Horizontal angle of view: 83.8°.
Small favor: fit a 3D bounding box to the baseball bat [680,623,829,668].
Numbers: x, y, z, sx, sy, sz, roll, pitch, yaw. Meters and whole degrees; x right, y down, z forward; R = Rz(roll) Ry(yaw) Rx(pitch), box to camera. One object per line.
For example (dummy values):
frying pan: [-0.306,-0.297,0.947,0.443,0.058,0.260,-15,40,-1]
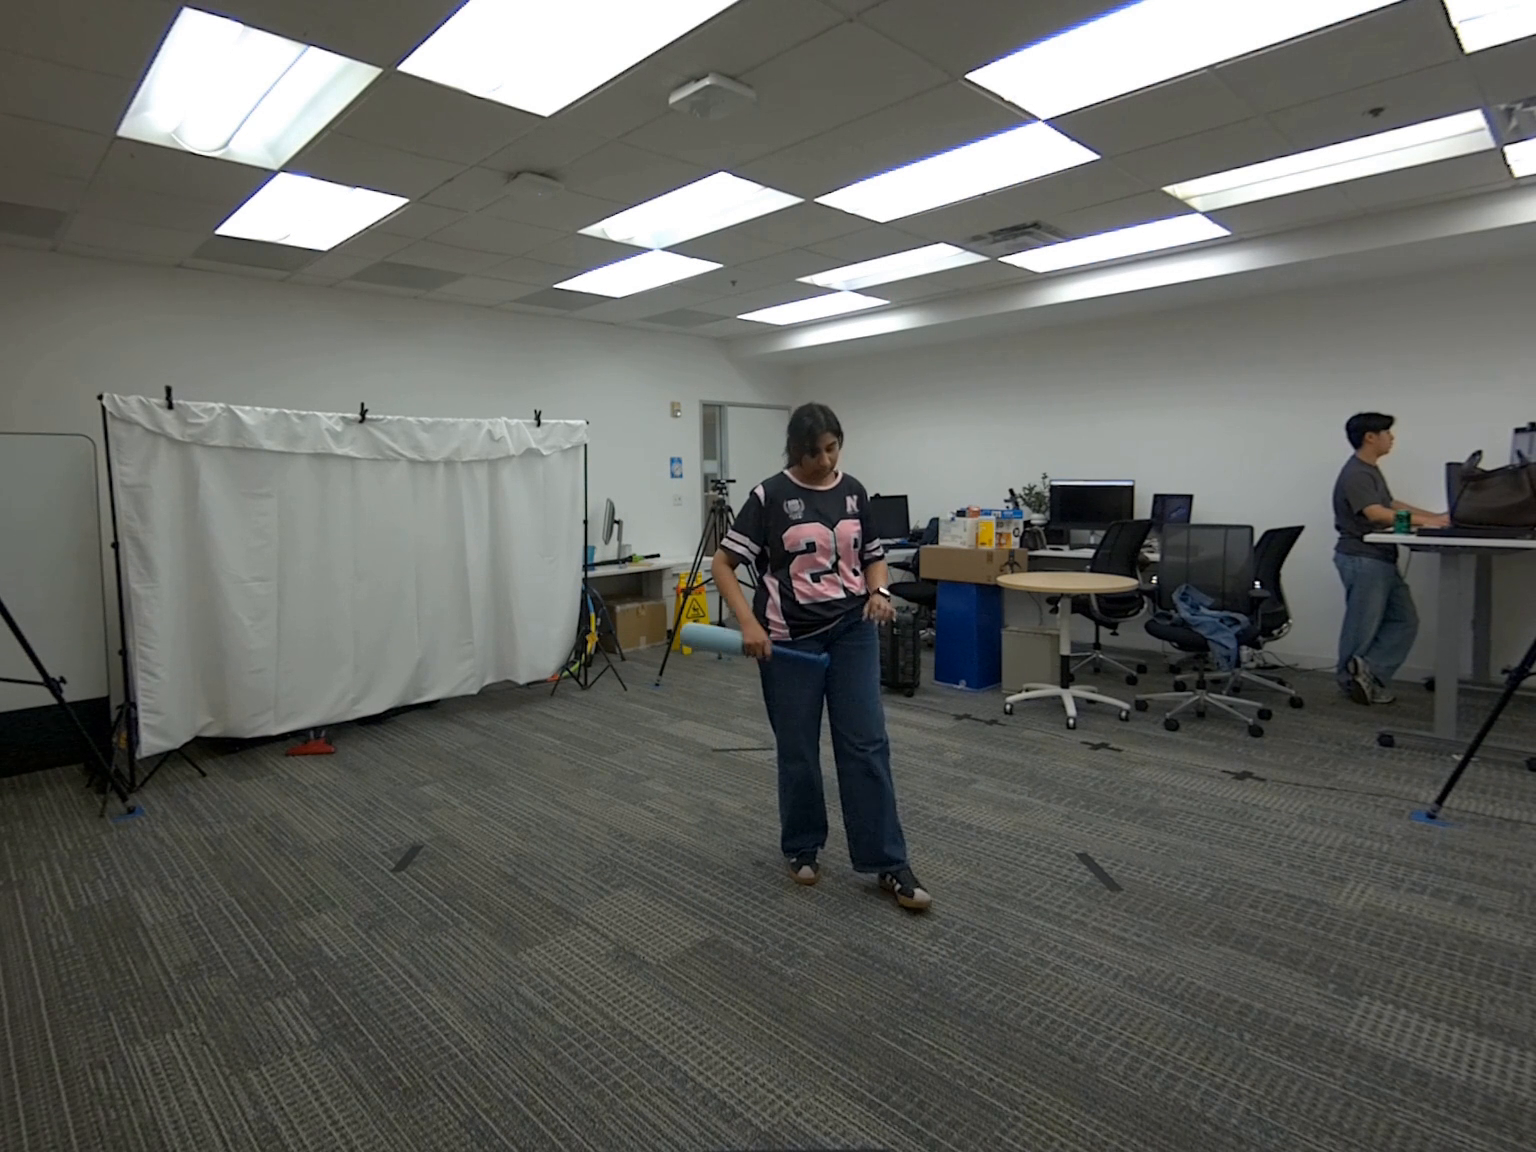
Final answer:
baseball bat: [-0.047,0.227,2.808,0.557,0.088,0.087,7,8,28]
